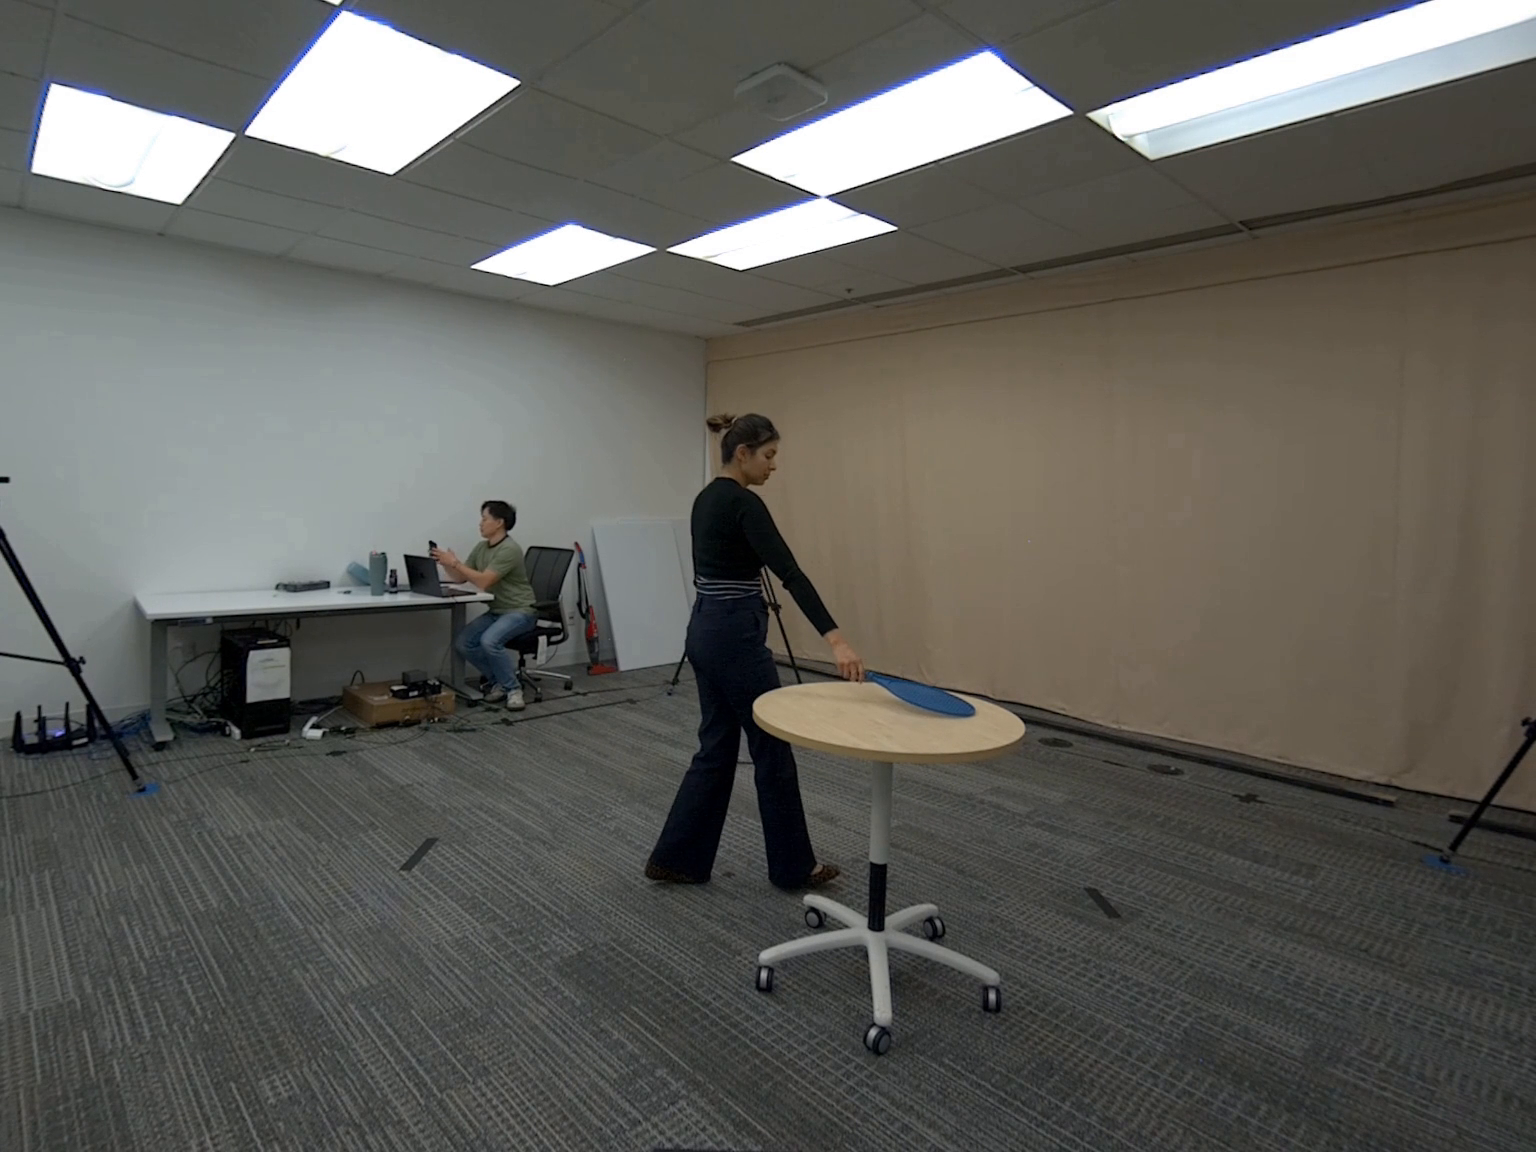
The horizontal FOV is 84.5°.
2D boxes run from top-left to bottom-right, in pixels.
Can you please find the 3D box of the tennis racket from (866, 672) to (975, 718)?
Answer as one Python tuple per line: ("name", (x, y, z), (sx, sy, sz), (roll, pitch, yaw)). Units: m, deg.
("tennis racket", (0.414, 0.344, 2.525), (0.444, 0.031, 0.209), (16, 10, 29))
